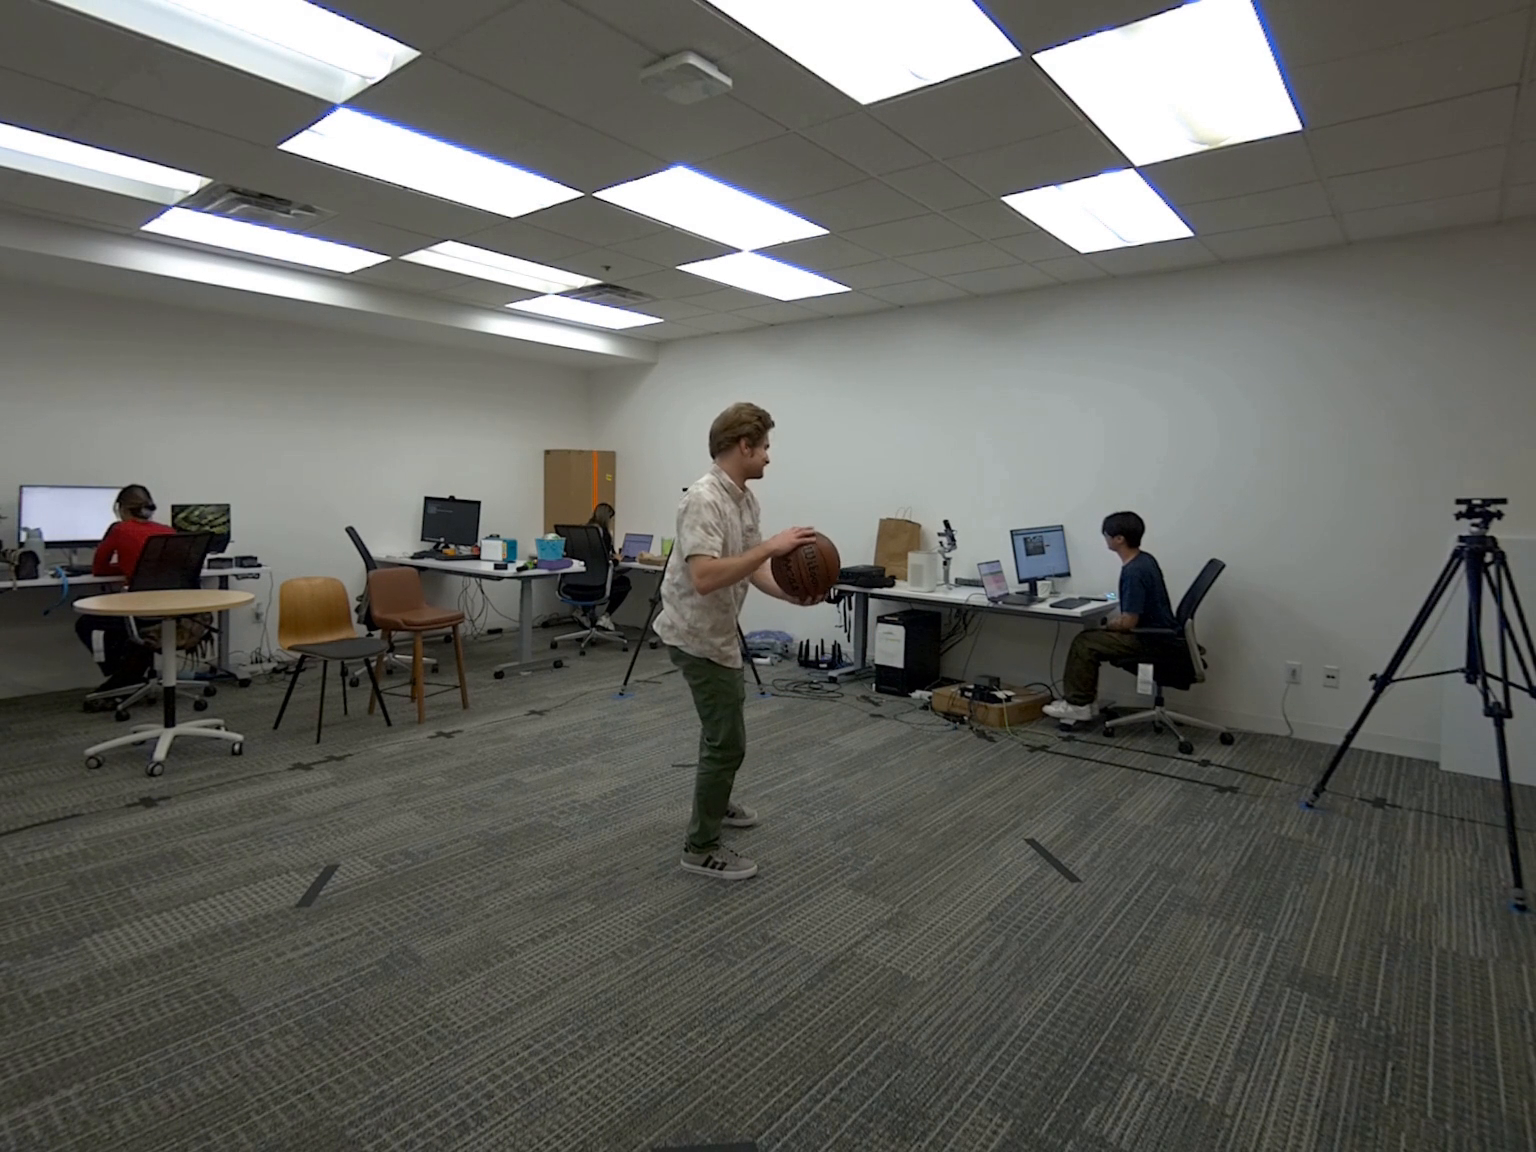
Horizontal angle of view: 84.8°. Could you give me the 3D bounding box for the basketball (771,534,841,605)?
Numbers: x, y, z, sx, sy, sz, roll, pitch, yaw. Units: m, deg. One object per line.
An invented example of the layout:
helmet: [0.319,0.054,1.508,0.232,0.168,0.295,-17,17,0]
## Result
basketball: [0.111,-0.036,2.910,0.236,0.235,0.237,1,4,-2]
